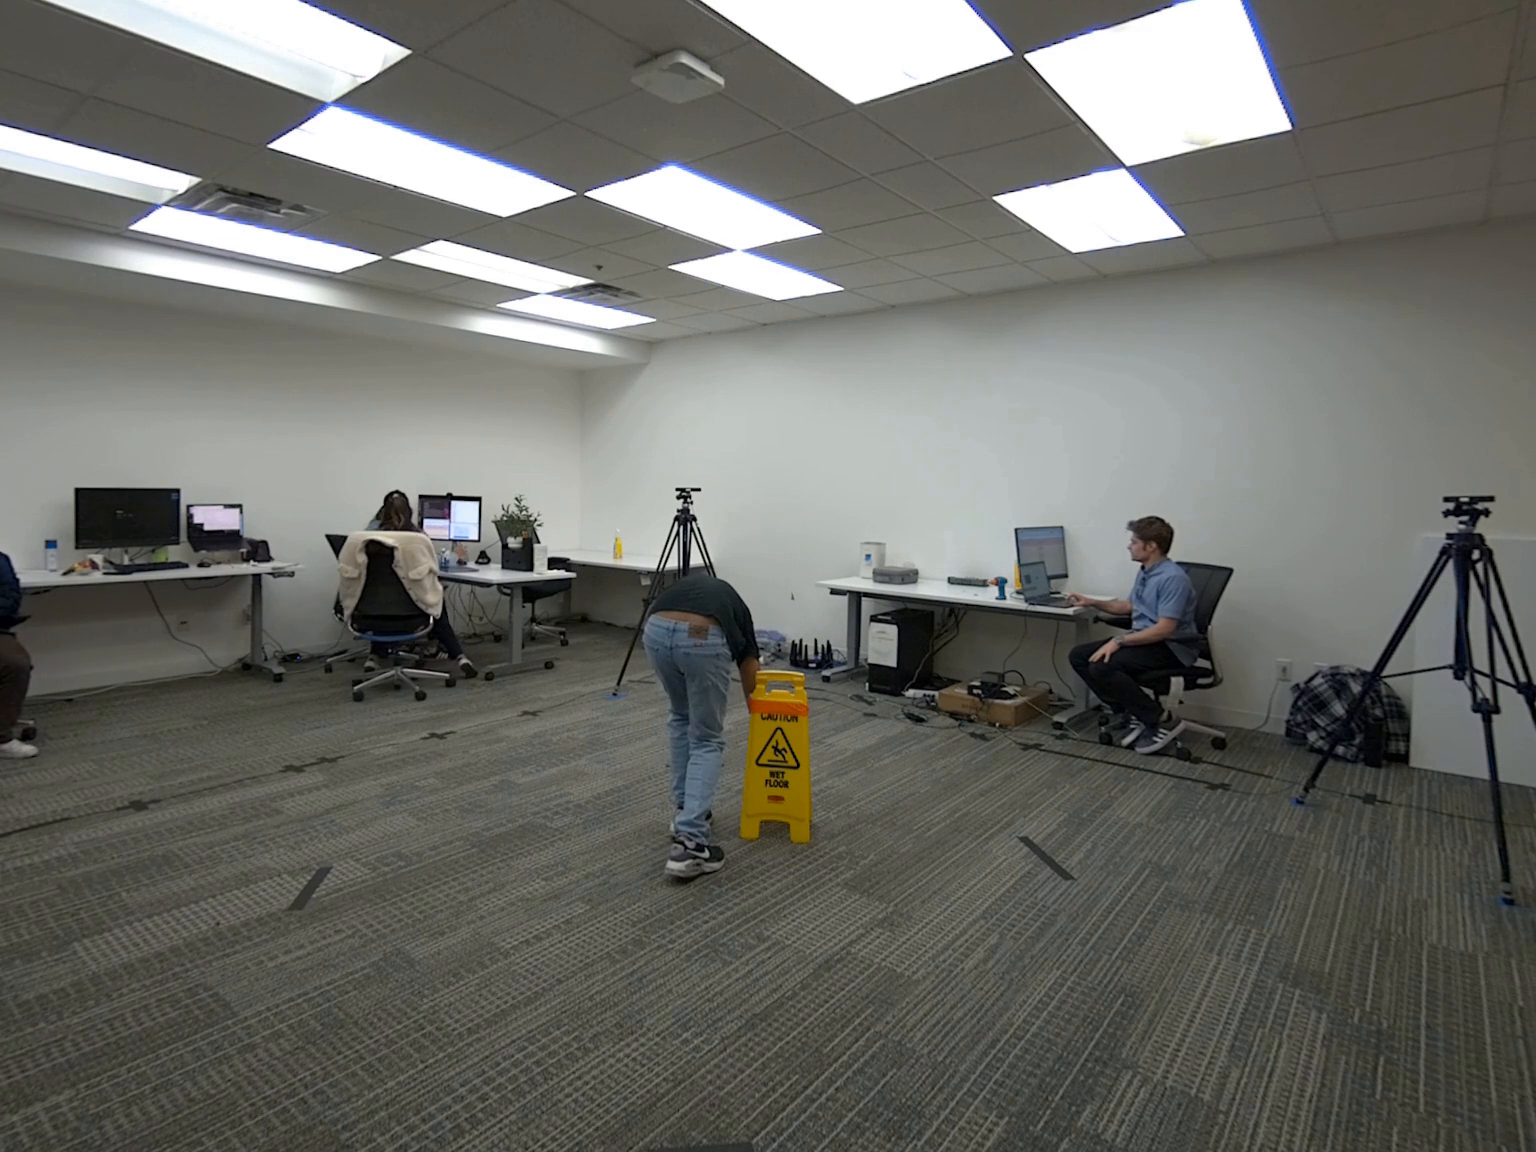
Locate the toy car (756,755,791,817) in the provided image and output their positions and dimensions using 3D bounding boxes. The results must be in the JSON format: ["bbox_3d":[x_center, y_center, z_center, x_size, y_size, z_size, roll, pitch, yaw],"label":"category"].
[{"bbox_3d":[0.024,0.906,3.636,0.131,0.248,0.084,2,27,8],"label":"toy car"}]
